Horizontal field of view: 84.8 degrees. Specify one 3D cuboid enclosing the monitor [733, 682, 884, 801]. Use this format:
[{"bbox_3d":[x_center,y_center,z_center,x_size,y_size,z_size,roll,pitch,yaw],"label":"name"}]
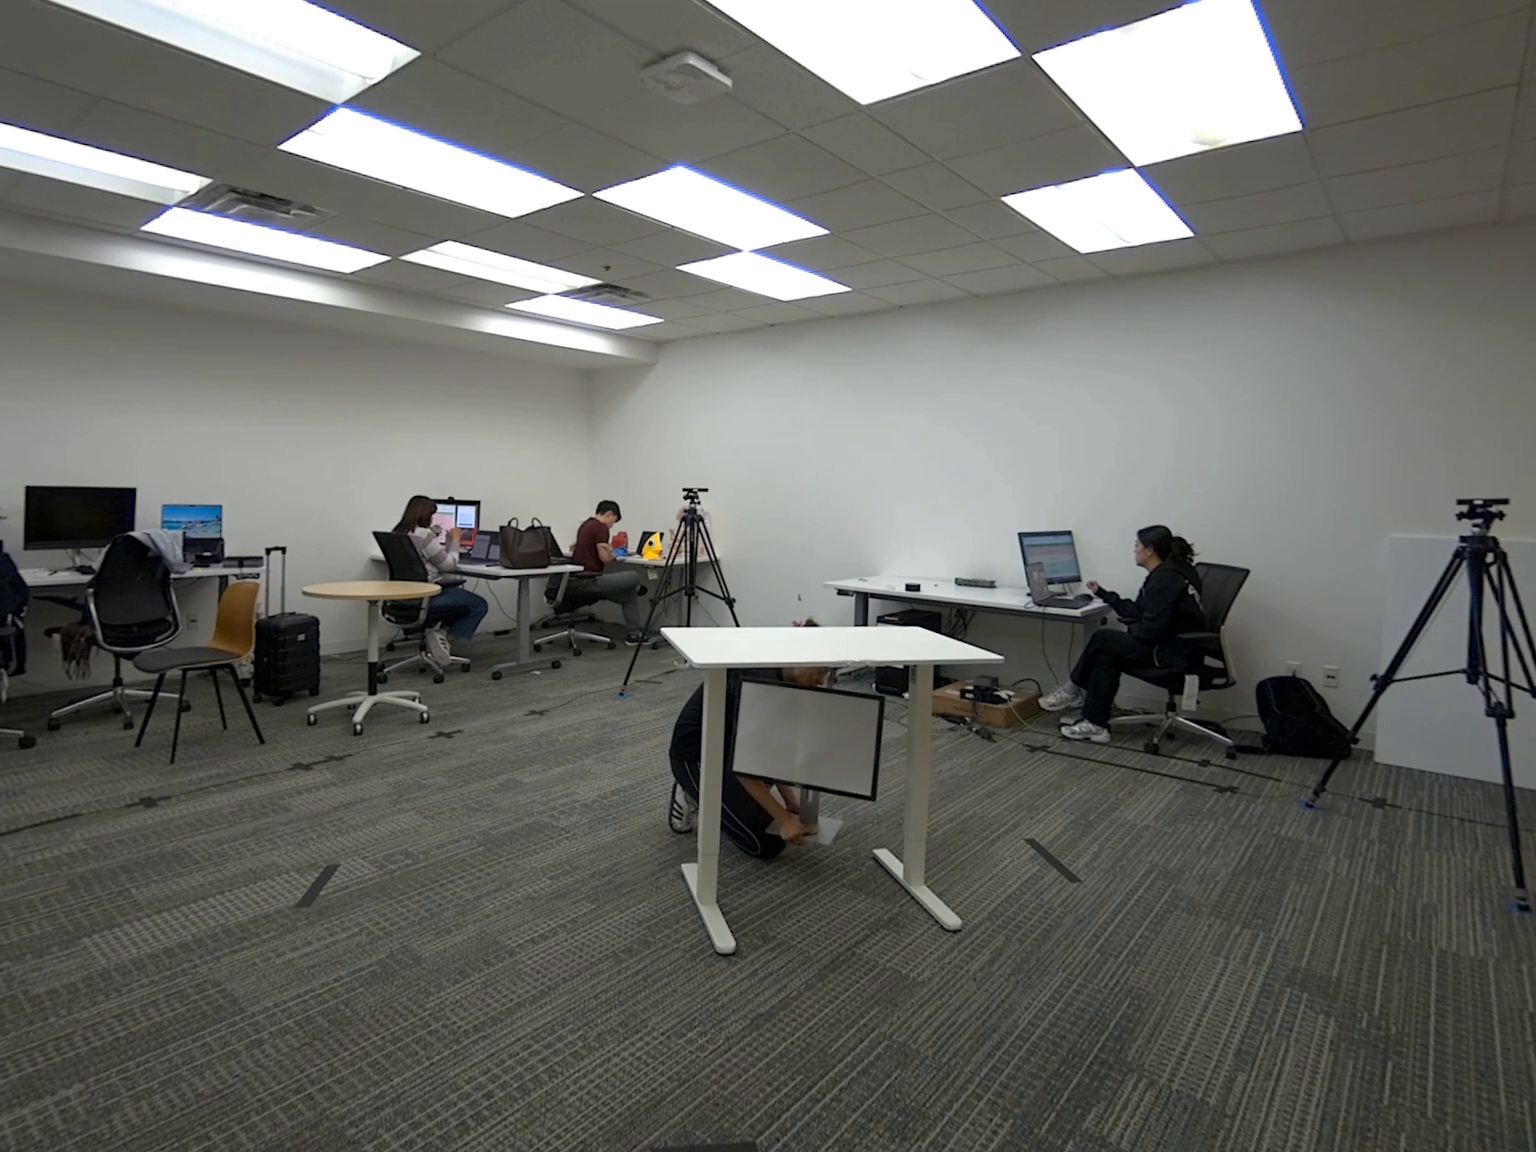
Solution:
[{"bbox_3d":[0.134,0.667,3.128,0.552,0.520,0.183,4,5,22],"label":"monitor"}]
